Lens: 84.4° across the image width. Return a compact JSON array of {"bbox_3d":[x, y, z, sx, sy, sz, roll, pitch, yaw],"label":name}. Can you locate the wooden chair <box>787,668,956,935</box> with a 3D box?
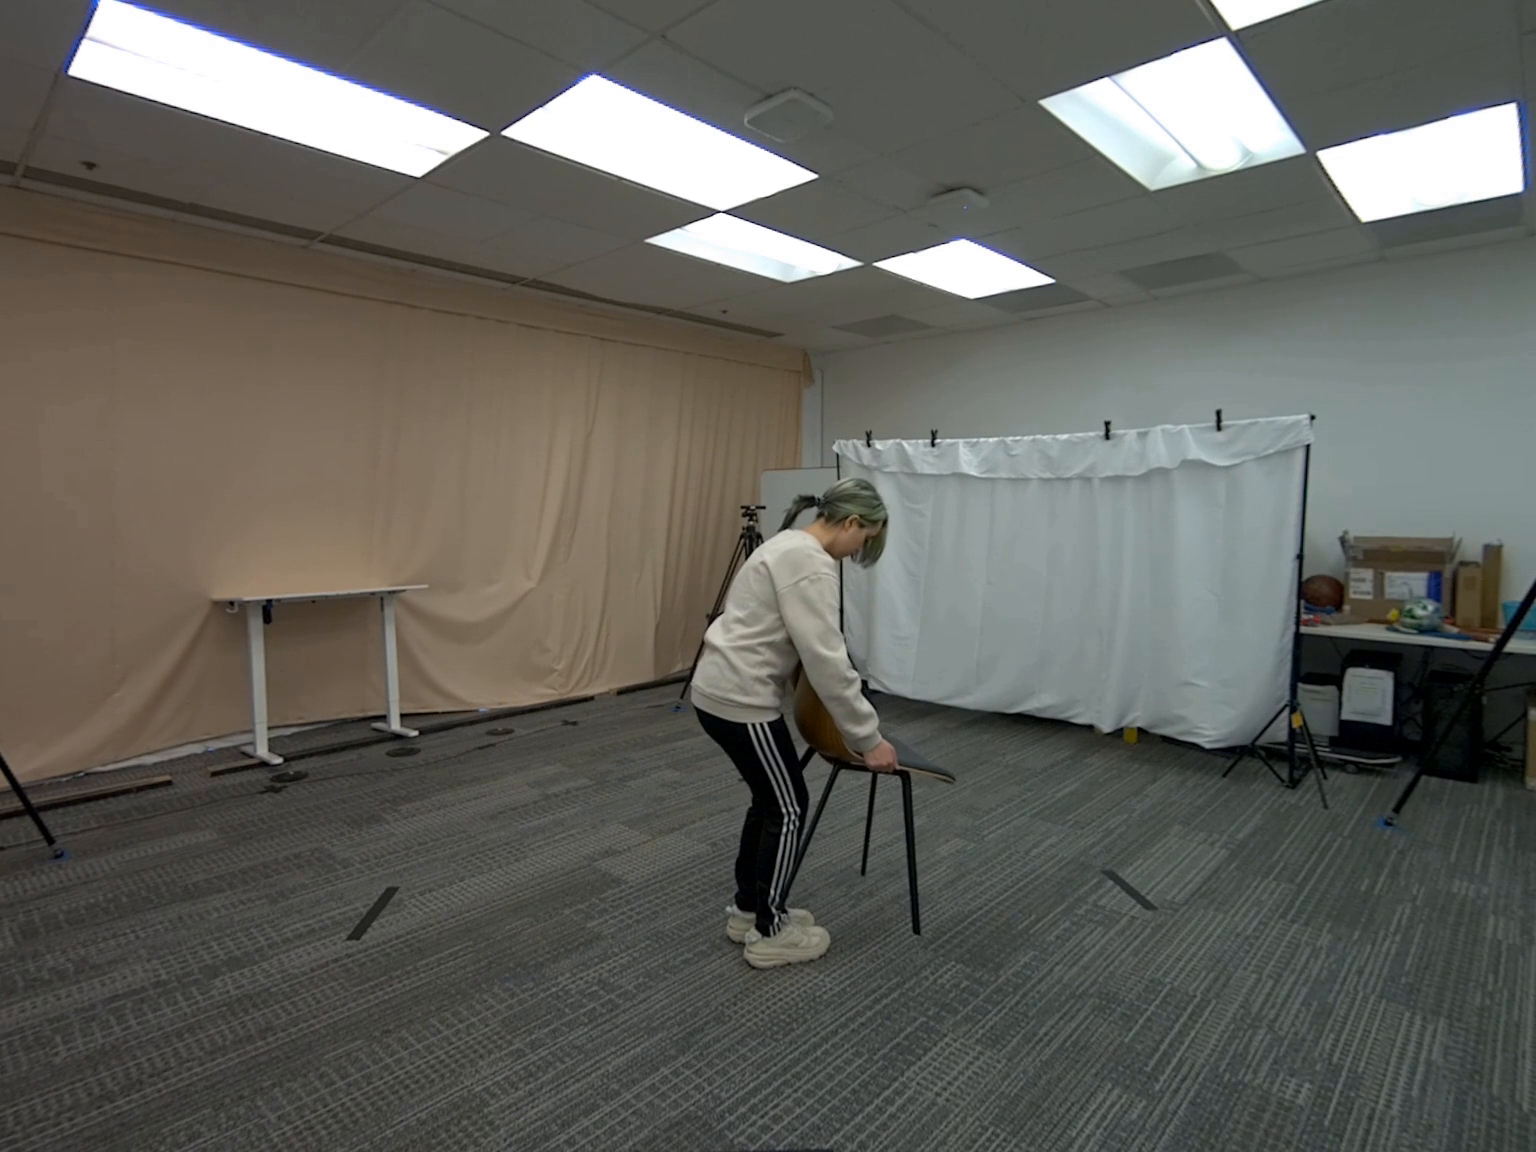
[{"bbox_3d":[0.308,0.591,2.675,0.515,0.878,0.485,10,-1,-14],"label":"wooden chair"}]
